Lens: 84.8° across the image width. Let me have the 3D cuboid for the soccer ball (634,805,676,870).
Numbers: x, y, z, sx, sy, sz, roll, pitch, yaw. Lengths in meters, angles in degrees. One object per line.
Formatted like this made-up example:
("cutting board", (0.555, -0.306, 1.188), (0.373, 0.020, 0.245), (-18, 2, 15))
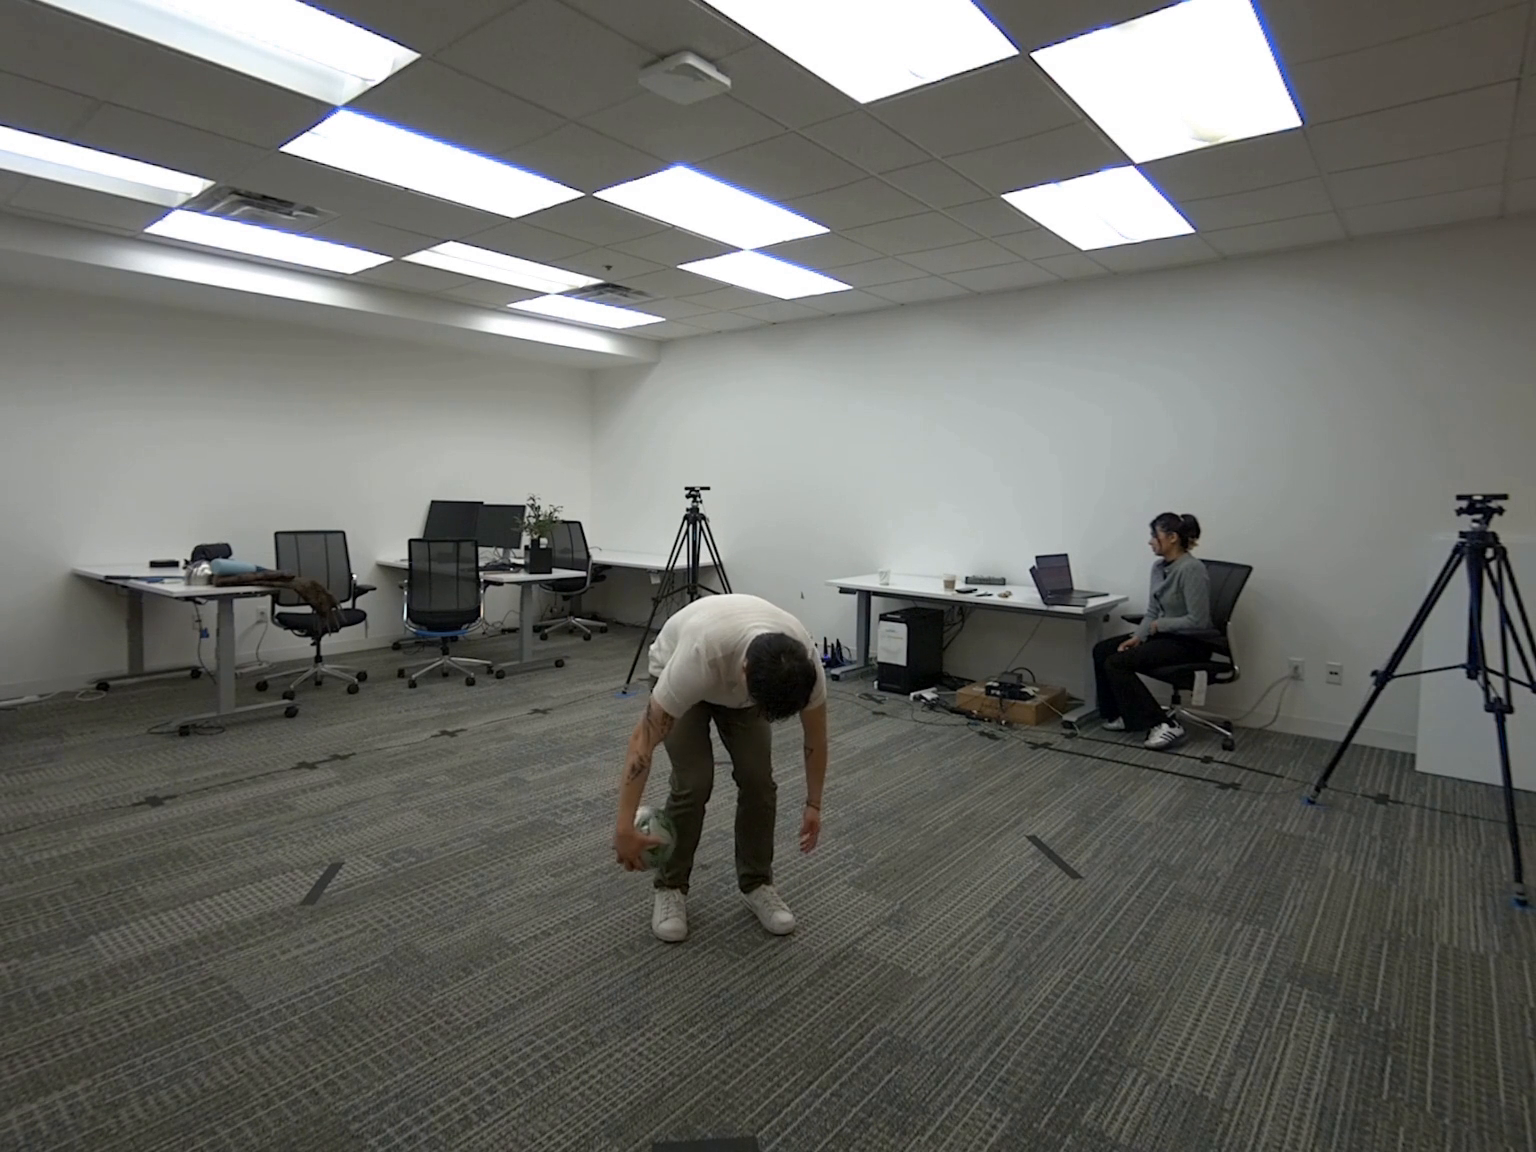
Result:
("soccer ball", (-0.357, 0.768, 2.562), (0.187, 0.187, 0.188), (1, 4, -2))
